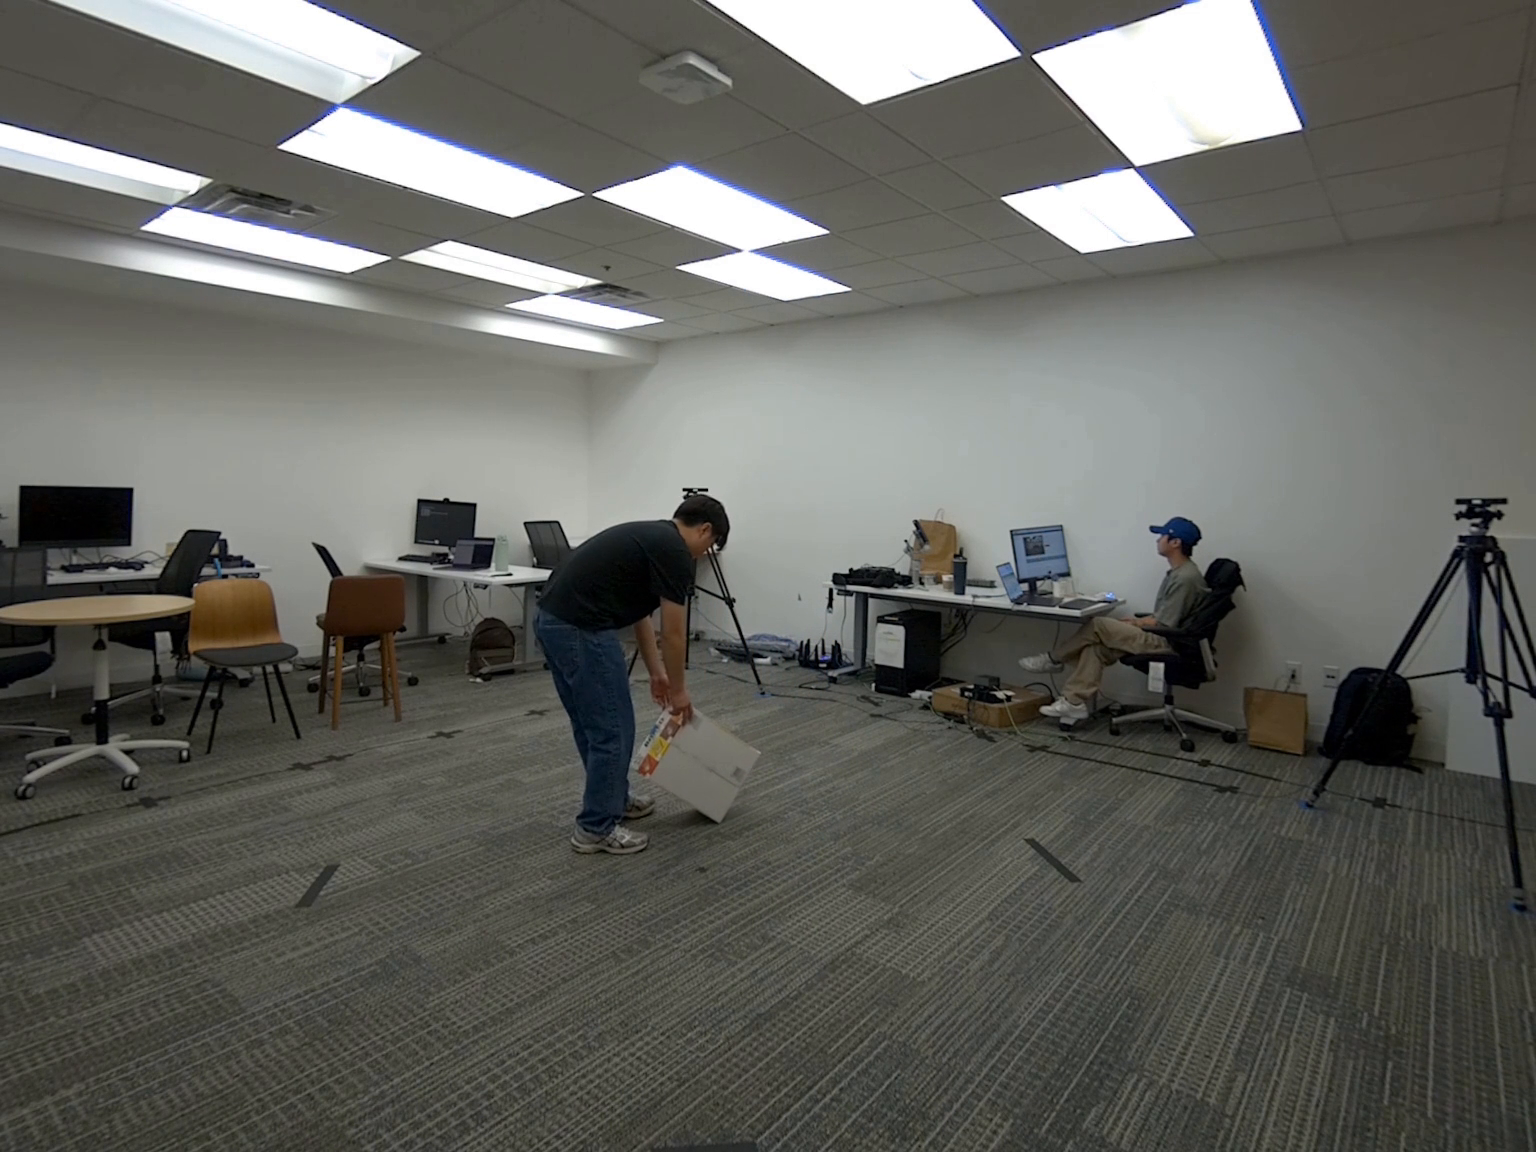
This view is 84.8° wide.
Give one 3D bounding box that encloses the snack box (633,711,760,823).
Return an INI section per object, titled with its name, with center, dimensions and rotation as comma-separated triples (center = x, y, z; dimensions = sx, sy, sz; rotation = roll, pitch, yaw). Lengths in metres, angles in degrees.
[snack box]
center = -0.314, 0.766, 3.582
dimensions = 0.393, 0.341, 0.211
rotation = 37, -12, -23
